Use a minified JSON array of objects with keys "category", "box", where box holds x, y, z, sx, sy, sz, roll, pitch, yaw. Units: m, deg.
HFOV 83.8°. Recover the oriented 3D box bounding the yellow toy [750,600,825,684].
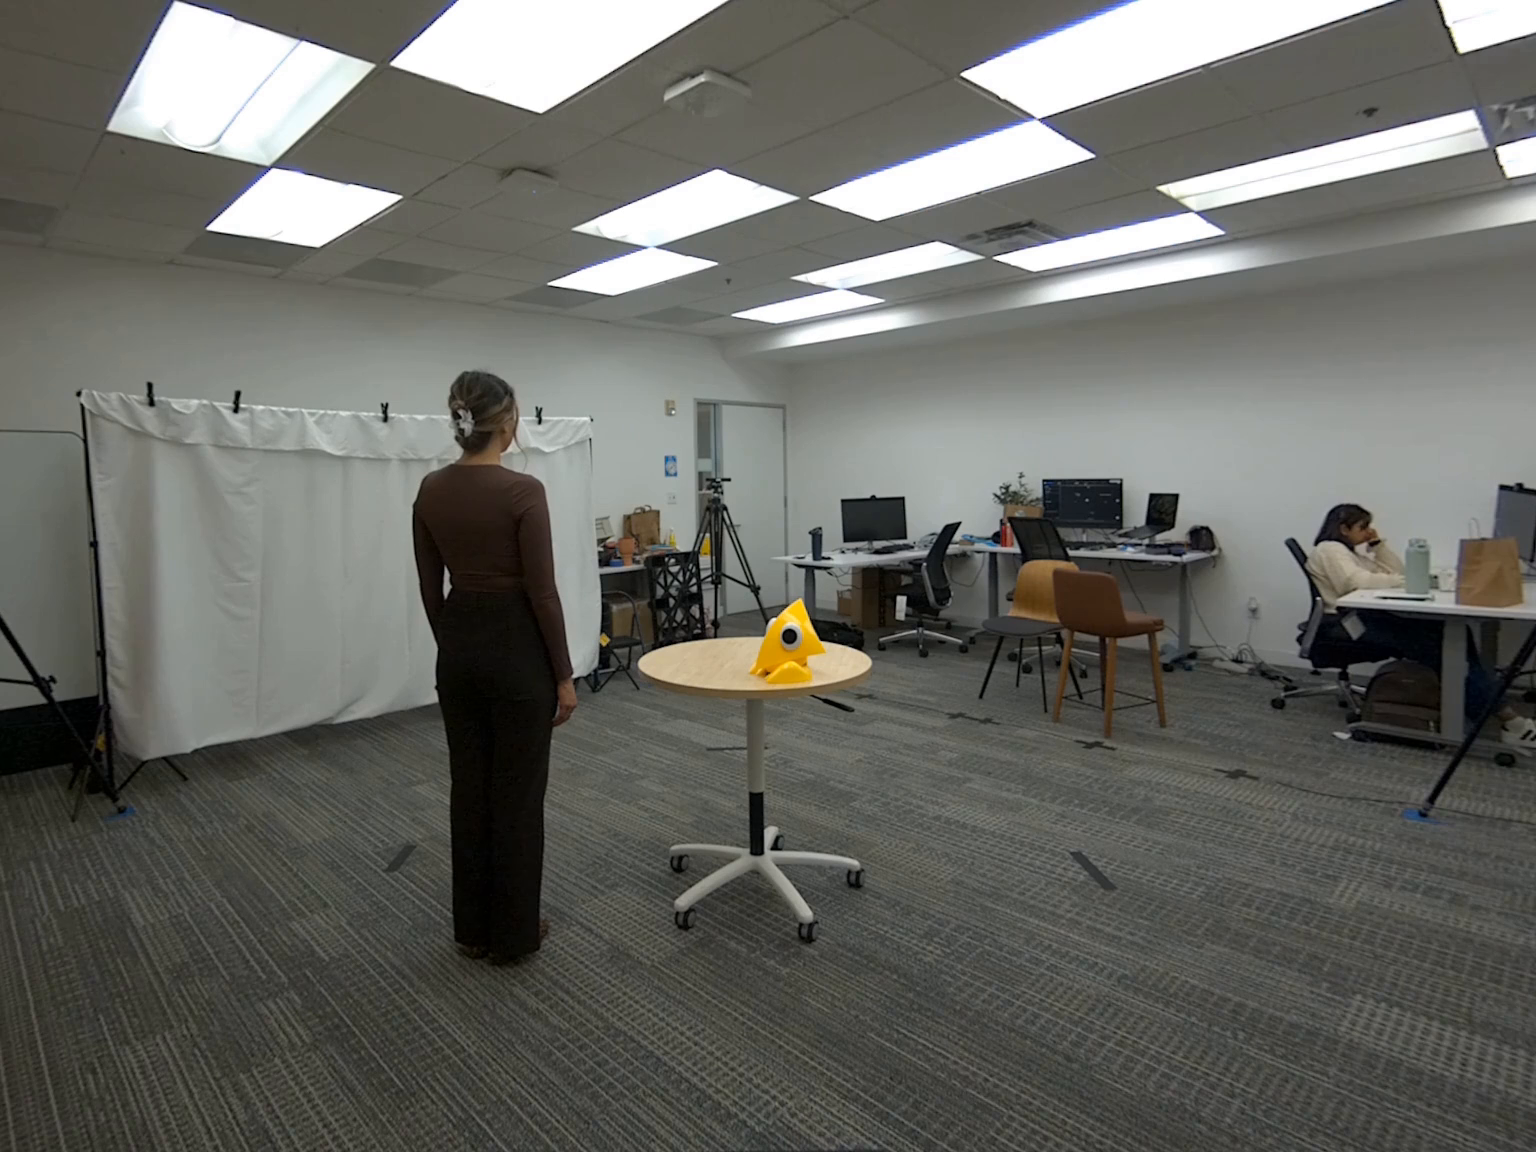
[{"category":"yellow toy","box":[0.054,0.192,2.603,0.189,0.229,0.210,-4,6,-24]}]
